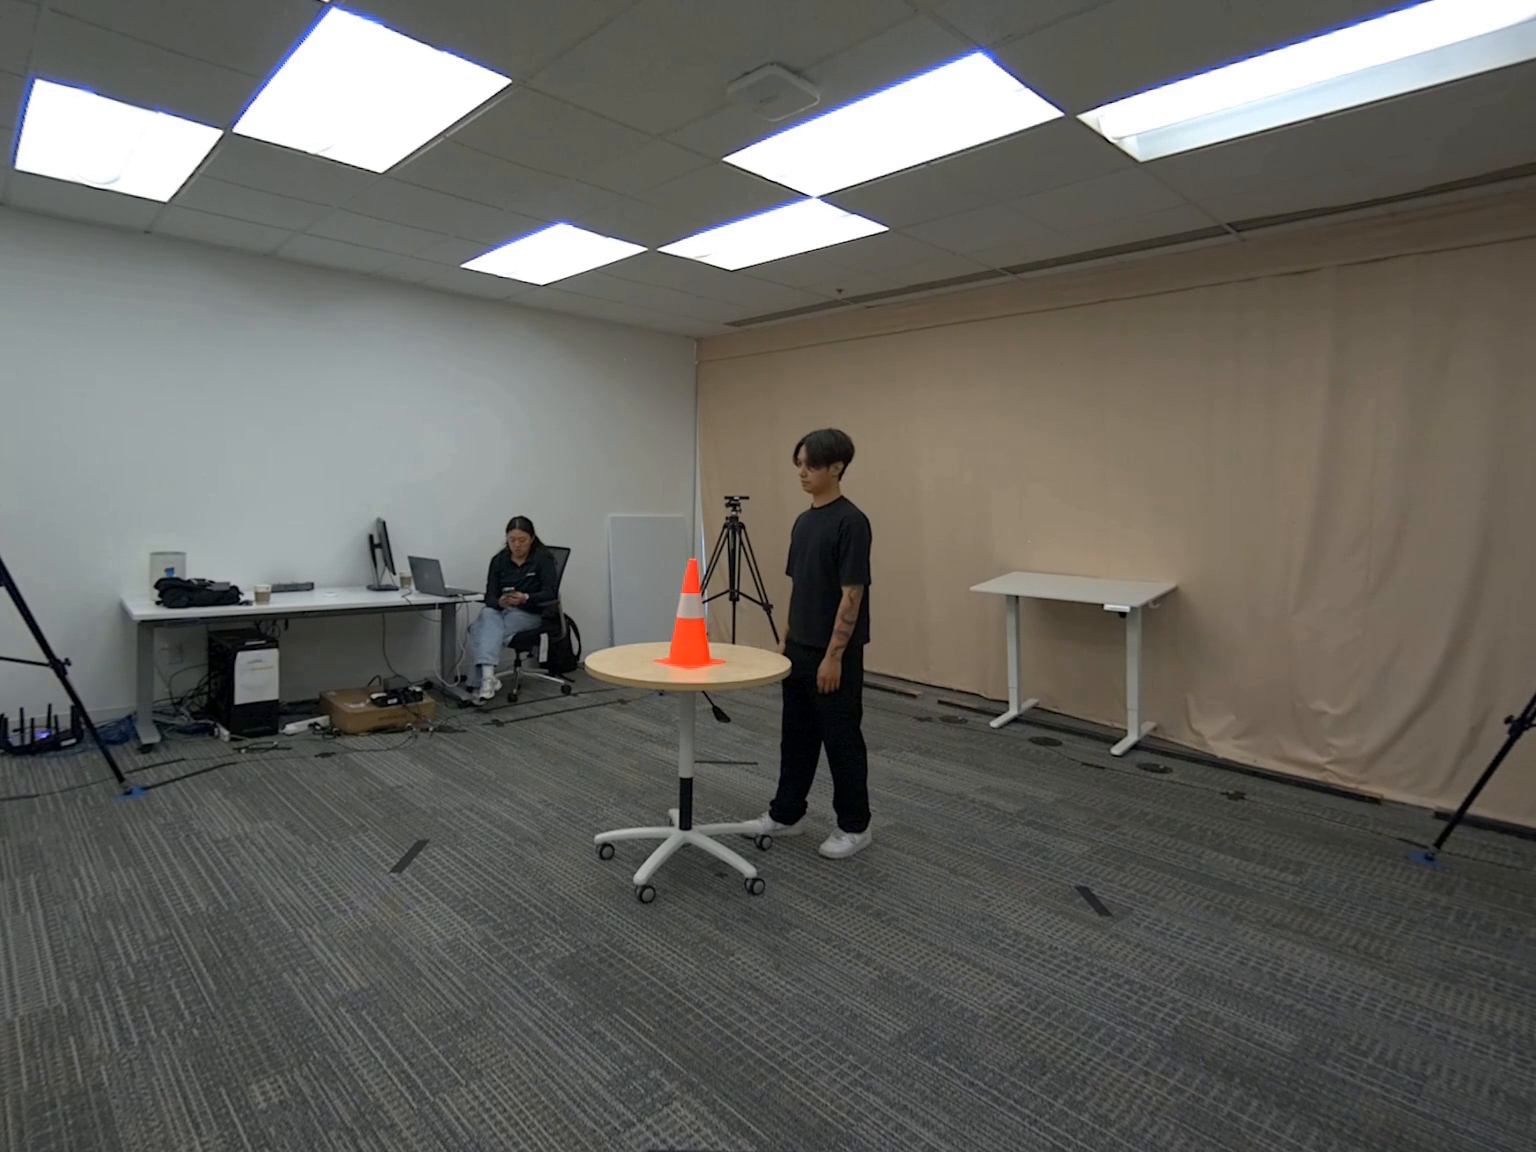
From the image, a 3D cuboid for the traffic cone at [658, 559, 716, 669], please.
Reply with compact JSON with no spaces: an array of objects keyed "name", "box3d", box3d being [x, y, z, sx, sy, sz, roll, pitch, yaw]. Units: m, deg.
[{"name":"traffic cone","box3d":[-0.285,0.134,3.095,0.208,0.383,0.201,5,4,29]}]
